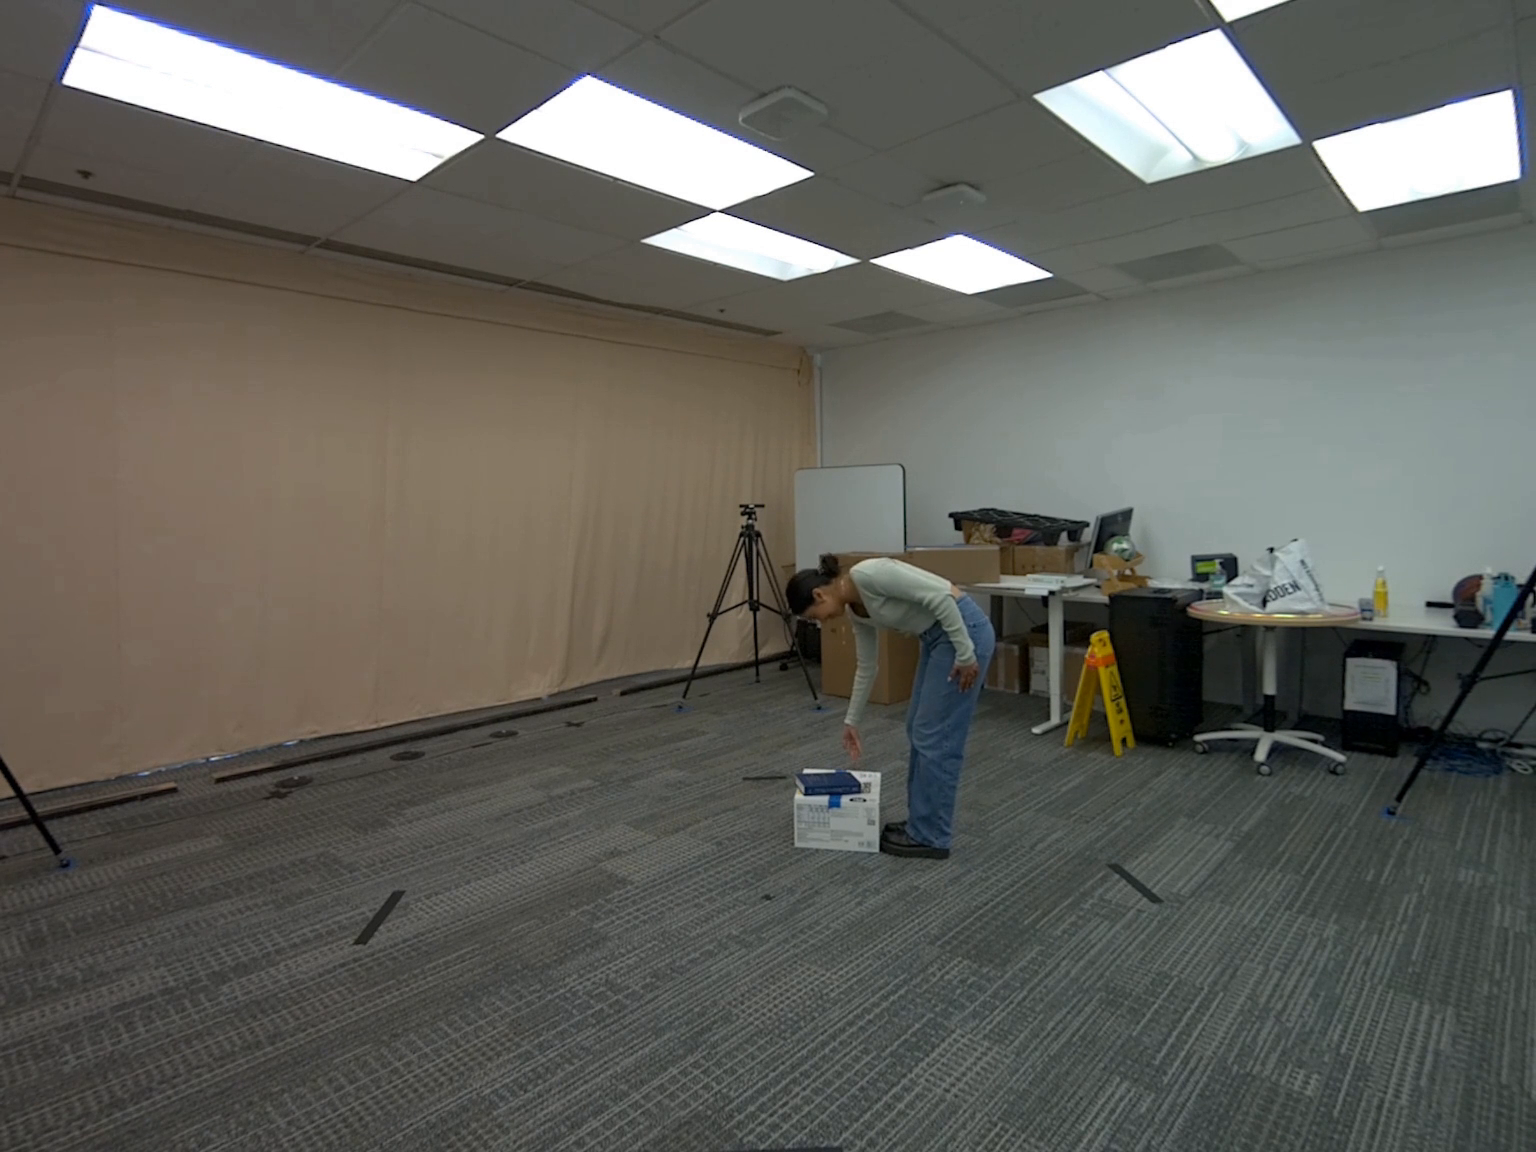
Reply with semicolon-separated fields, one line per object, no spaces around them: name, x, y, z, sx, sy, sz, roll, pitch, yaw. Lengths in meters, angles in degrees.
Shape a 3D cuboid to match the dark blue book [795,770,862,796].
dark blue book;0.258;0.875;3.531;0.242;0.045;0.165;-1;3;-10
